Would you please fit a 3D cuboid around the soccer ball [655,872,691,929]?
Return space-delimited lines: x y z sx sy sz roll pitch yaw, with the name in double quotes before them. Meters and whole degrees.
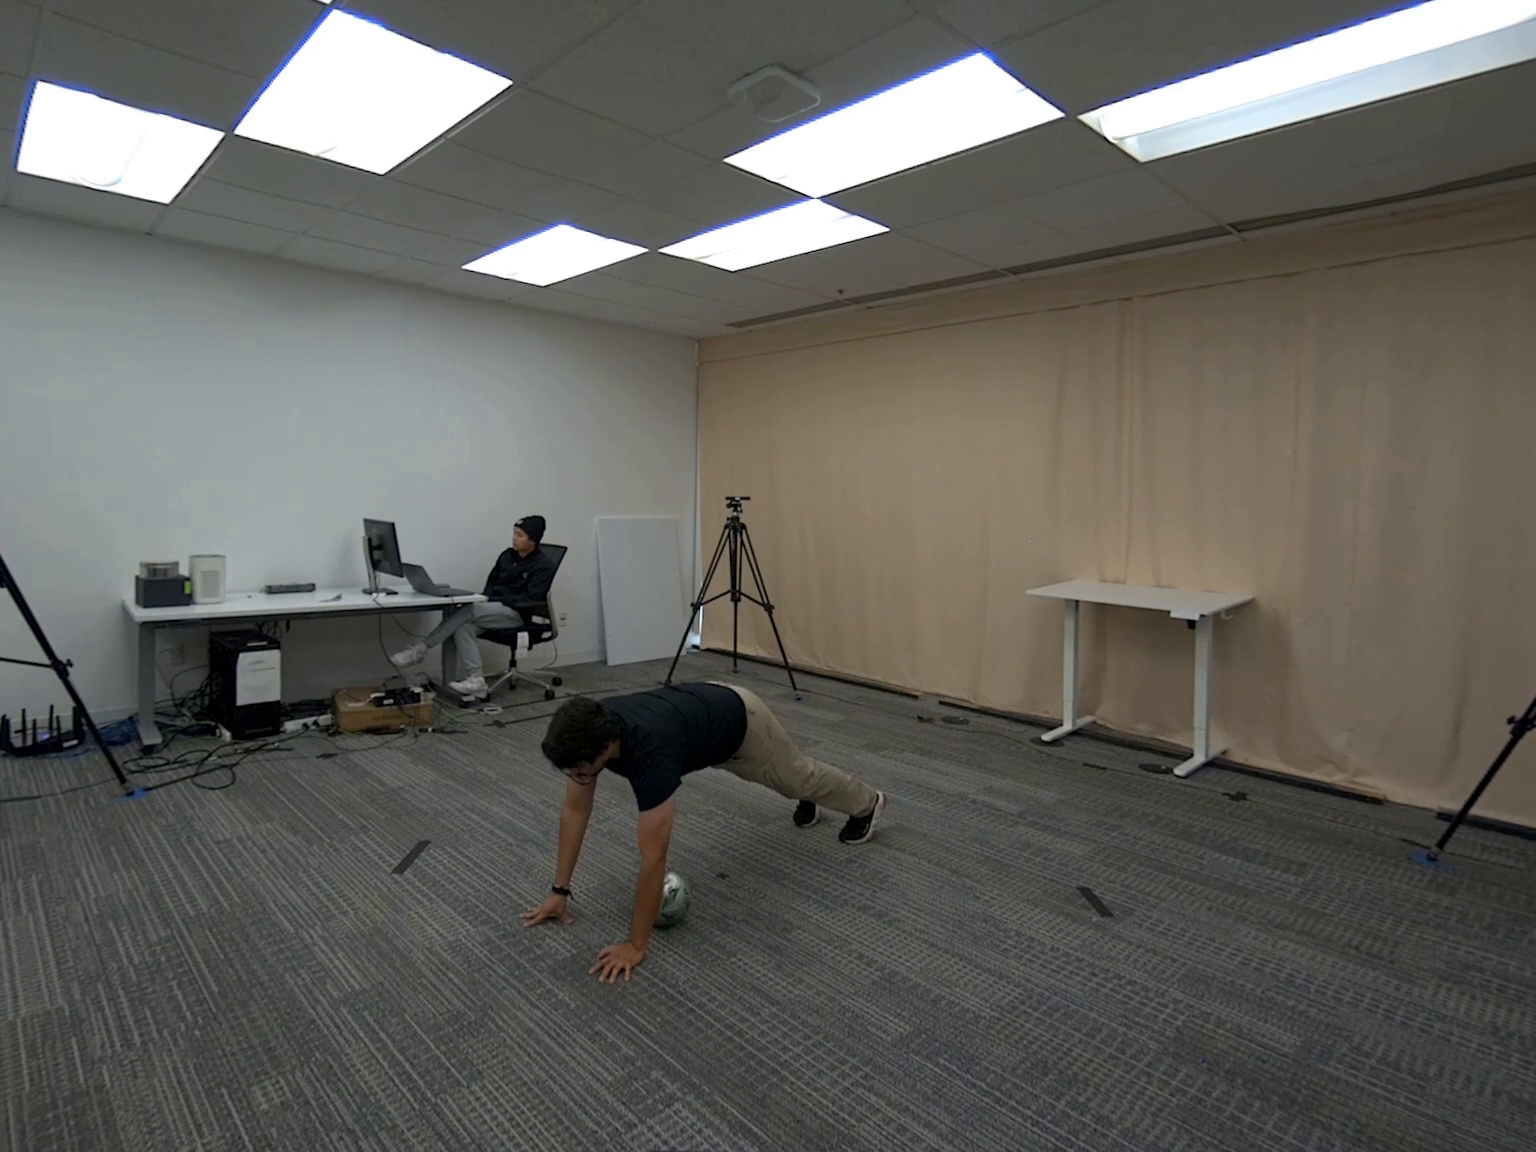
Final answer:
"soccer ball" -0.342 1.052 2.742 0.187 0.187 0.188 1 4 -1
